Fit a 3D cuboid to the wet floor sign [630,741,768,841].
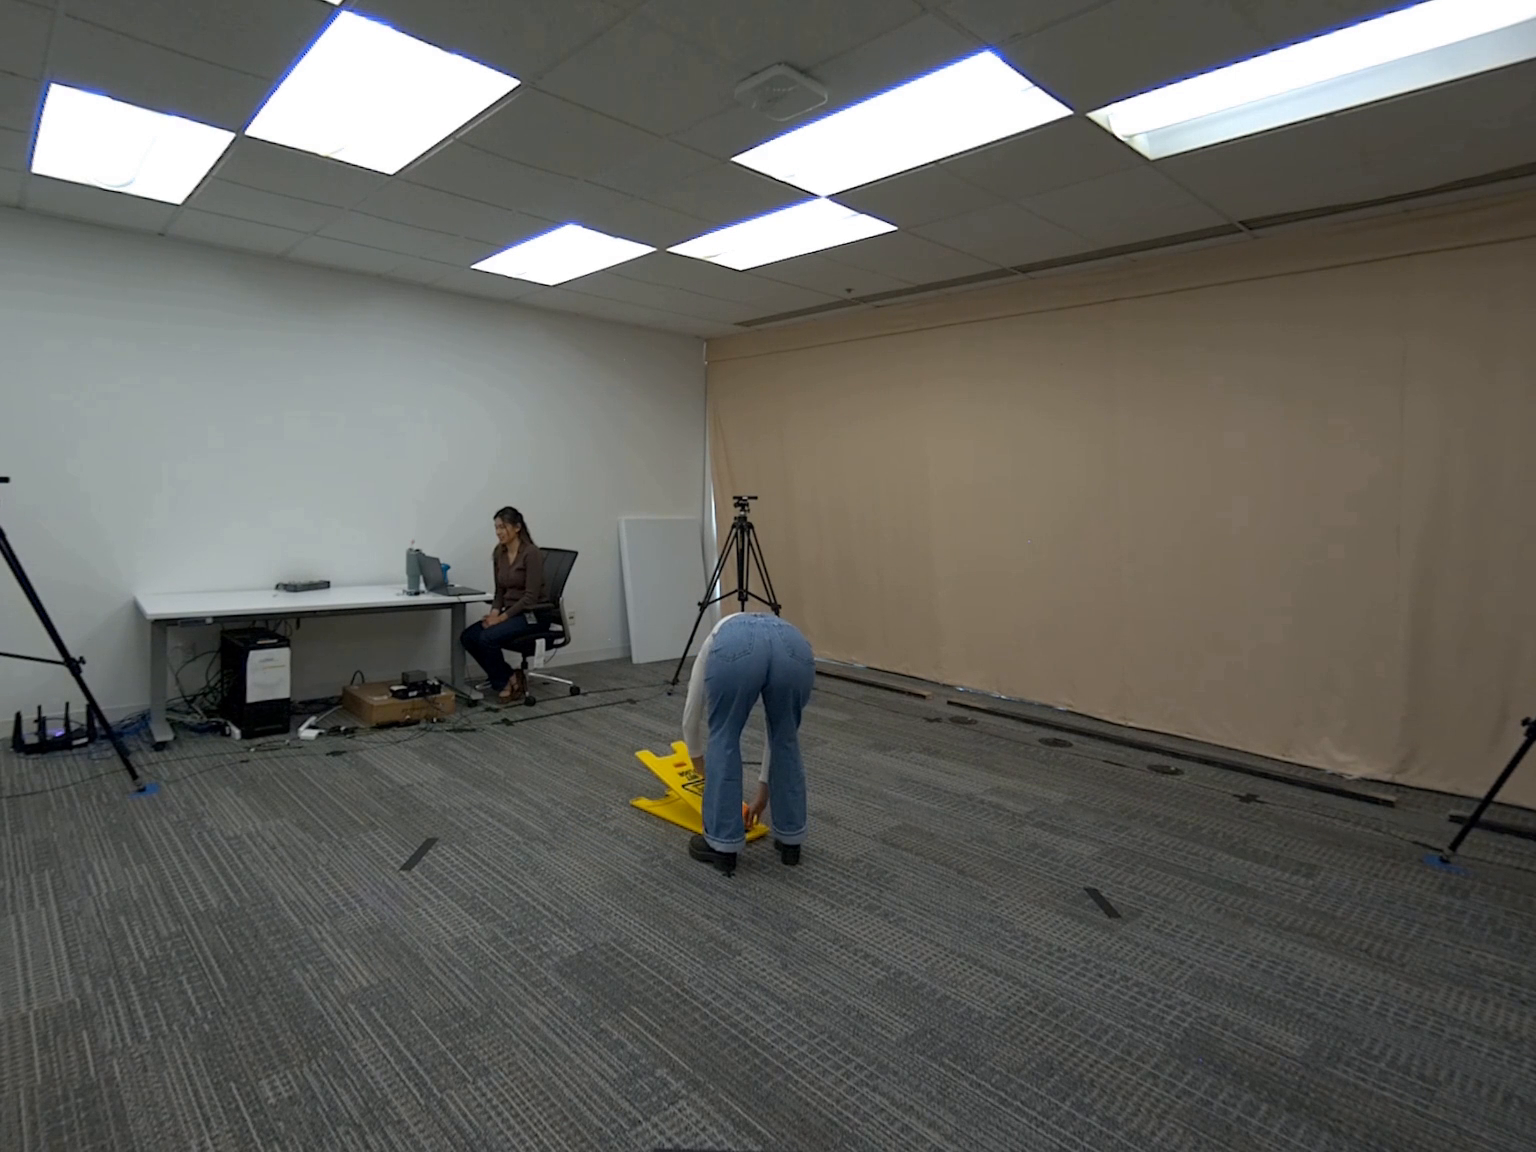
[{"bbox_3d":[-0.298,0.985,3.633,0.276,0.287,0.666,-4,18,-43],"label":"wet floor sign"}]
